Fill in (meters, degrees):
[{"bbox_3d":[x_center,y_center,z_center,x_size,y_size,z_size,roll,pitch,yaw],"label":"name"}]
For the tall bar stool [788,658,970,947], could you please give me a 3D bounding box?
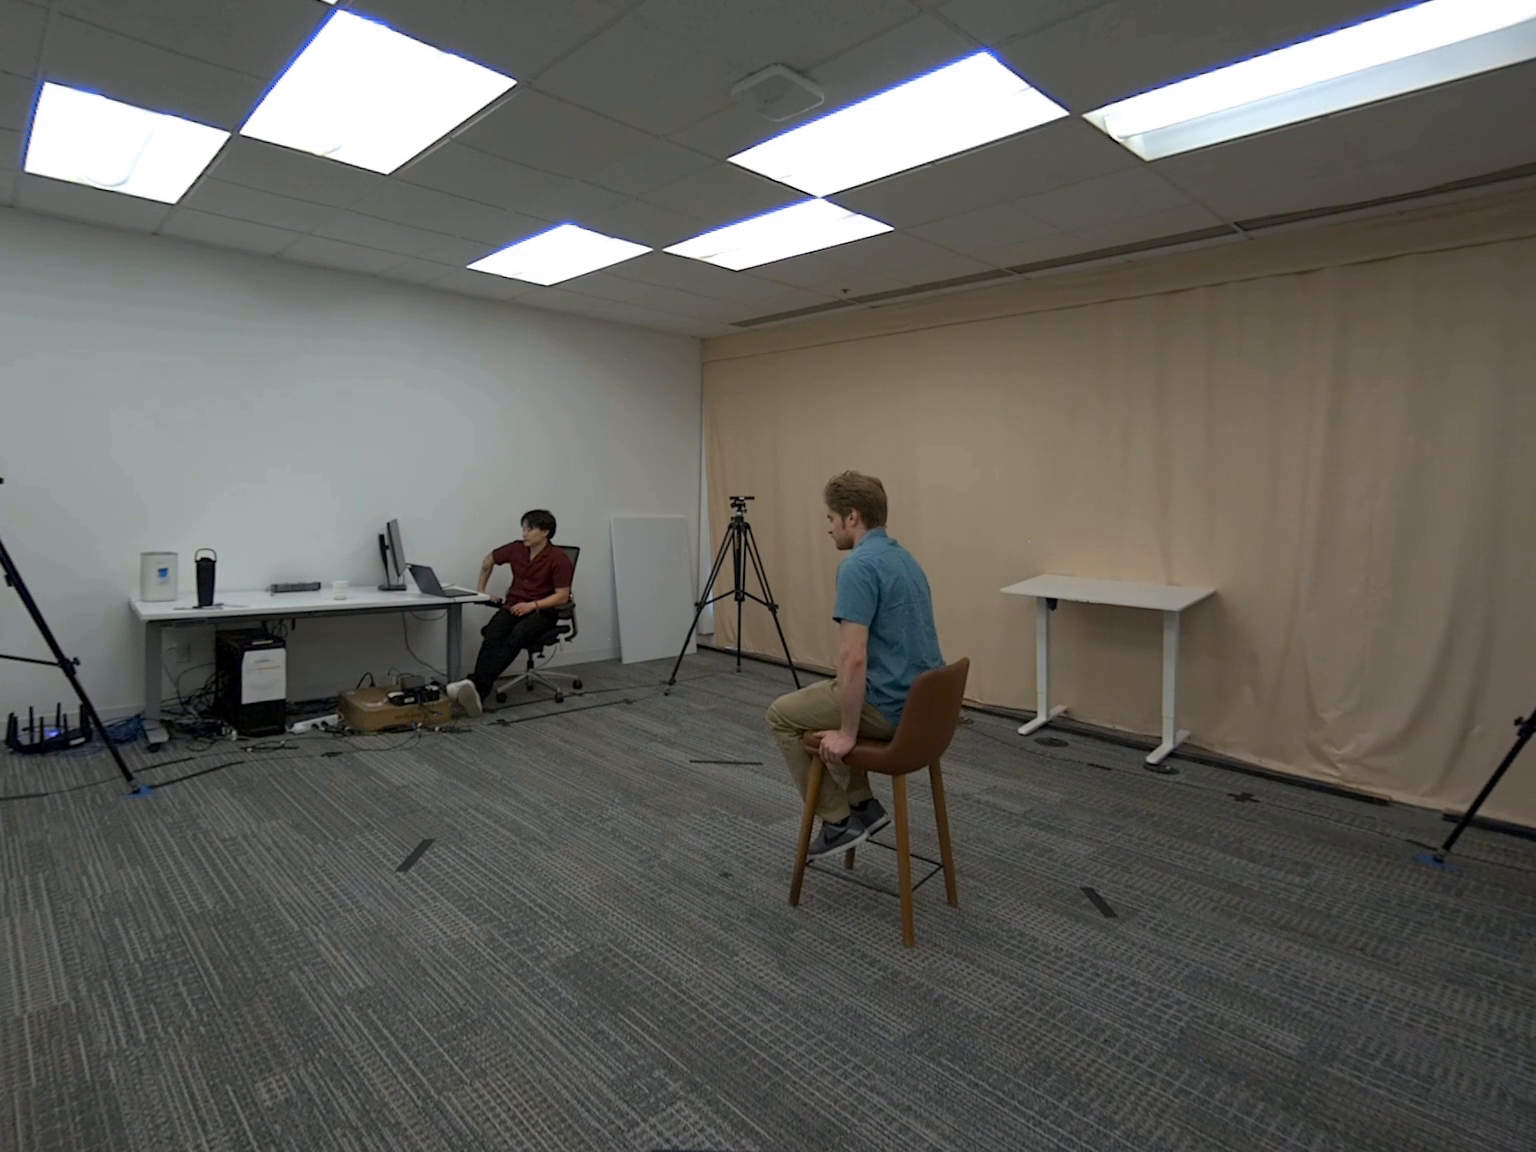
[{"bbox_3d":[0.382,0.704,2.873,0.479,0.886,0.447,7,7,36],"label":"tall bar stool"}]
